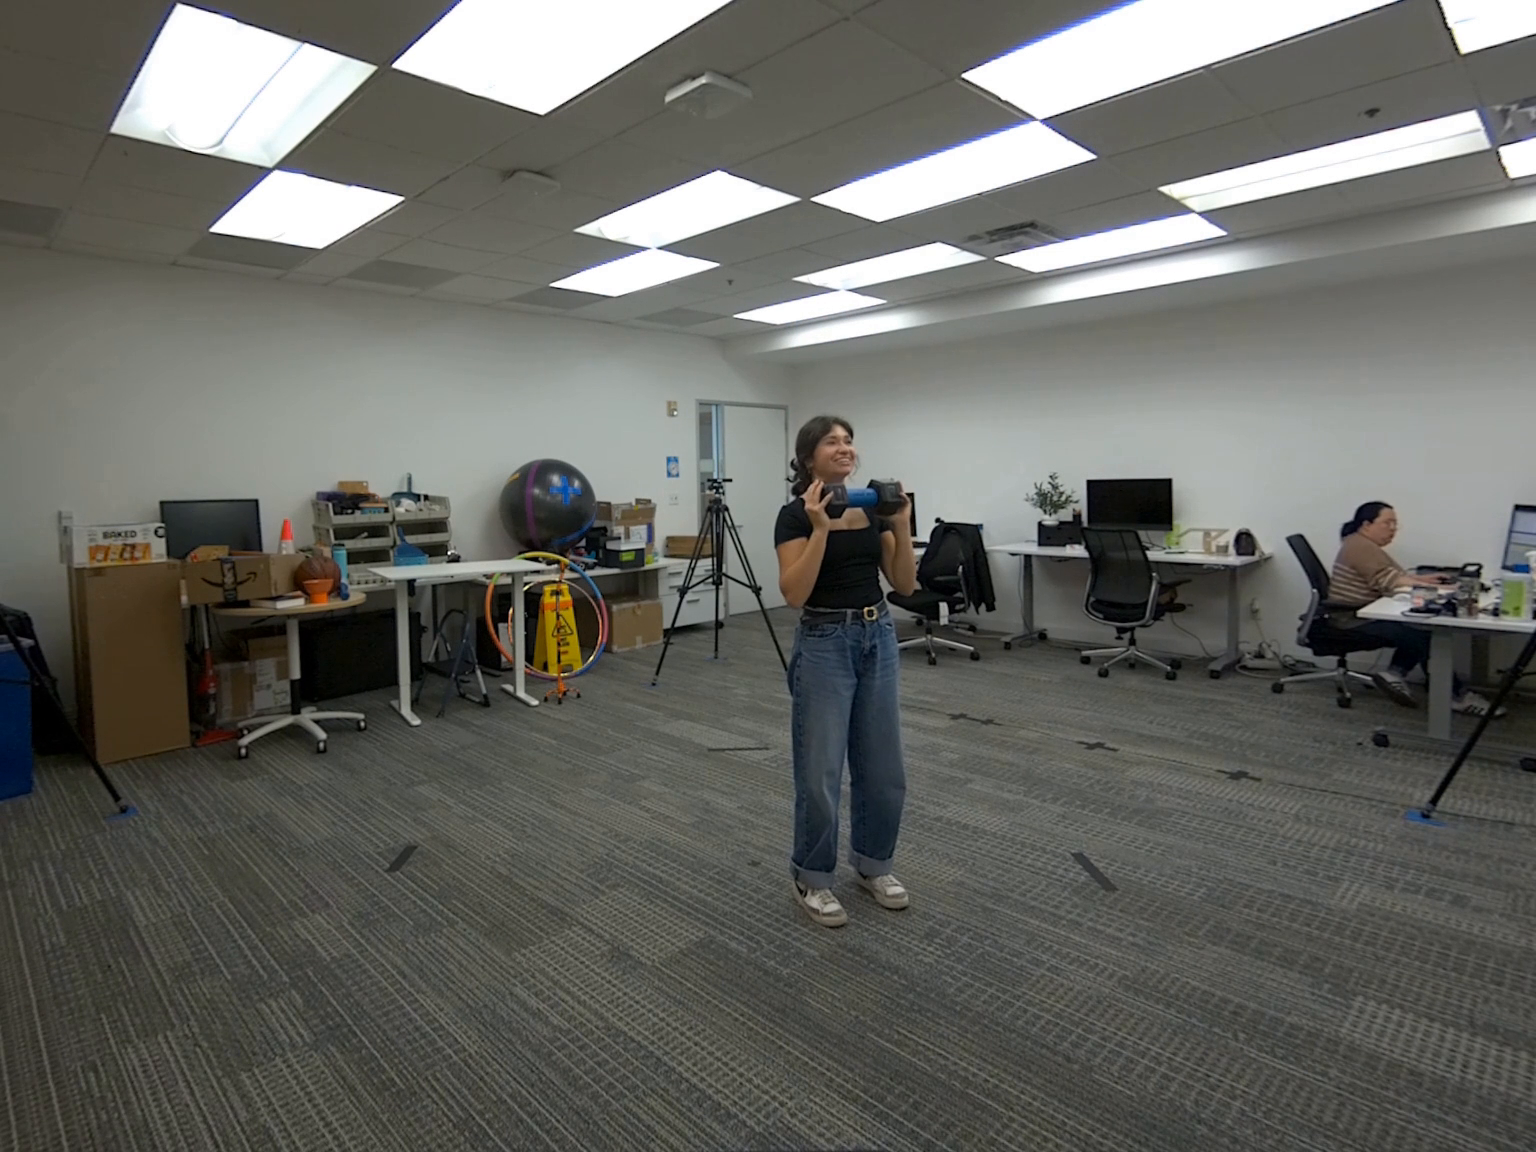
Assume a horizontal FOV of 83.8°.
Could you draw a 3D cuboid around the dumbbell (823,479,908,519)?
[{"bbox_3d":[0.278,-0.243,2.653,0.286,0.121,0.112,-2,48,-31],"label":"dumbbell"}]
